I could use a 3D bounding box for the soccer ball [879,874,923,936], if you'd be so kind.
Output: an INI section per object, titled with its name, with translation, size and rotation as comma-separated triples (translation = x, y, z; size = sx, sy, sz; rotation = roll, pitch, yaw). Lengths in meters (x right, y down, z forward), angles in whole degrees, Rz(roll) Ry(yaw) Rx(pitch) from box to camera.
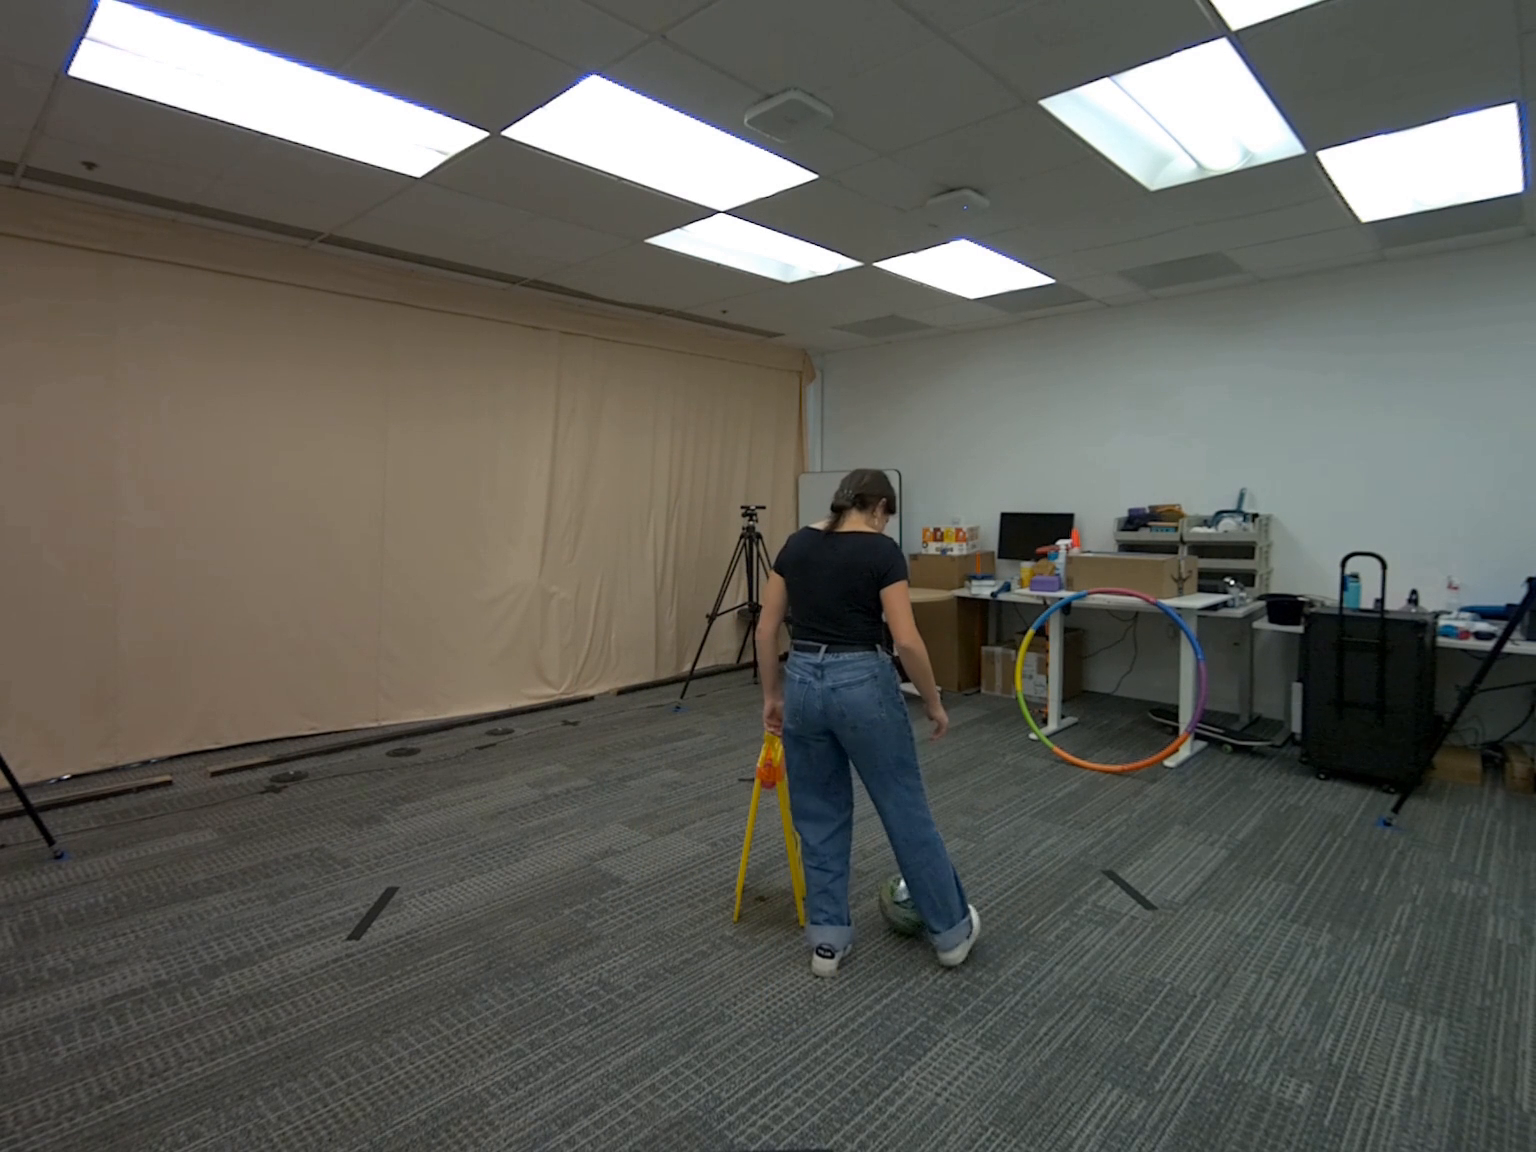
[soccer ball]
translation = 0.466, 1.075, 2.743
size = 0.187, 0.187, 0.188
rotation = 0, 4, -2
